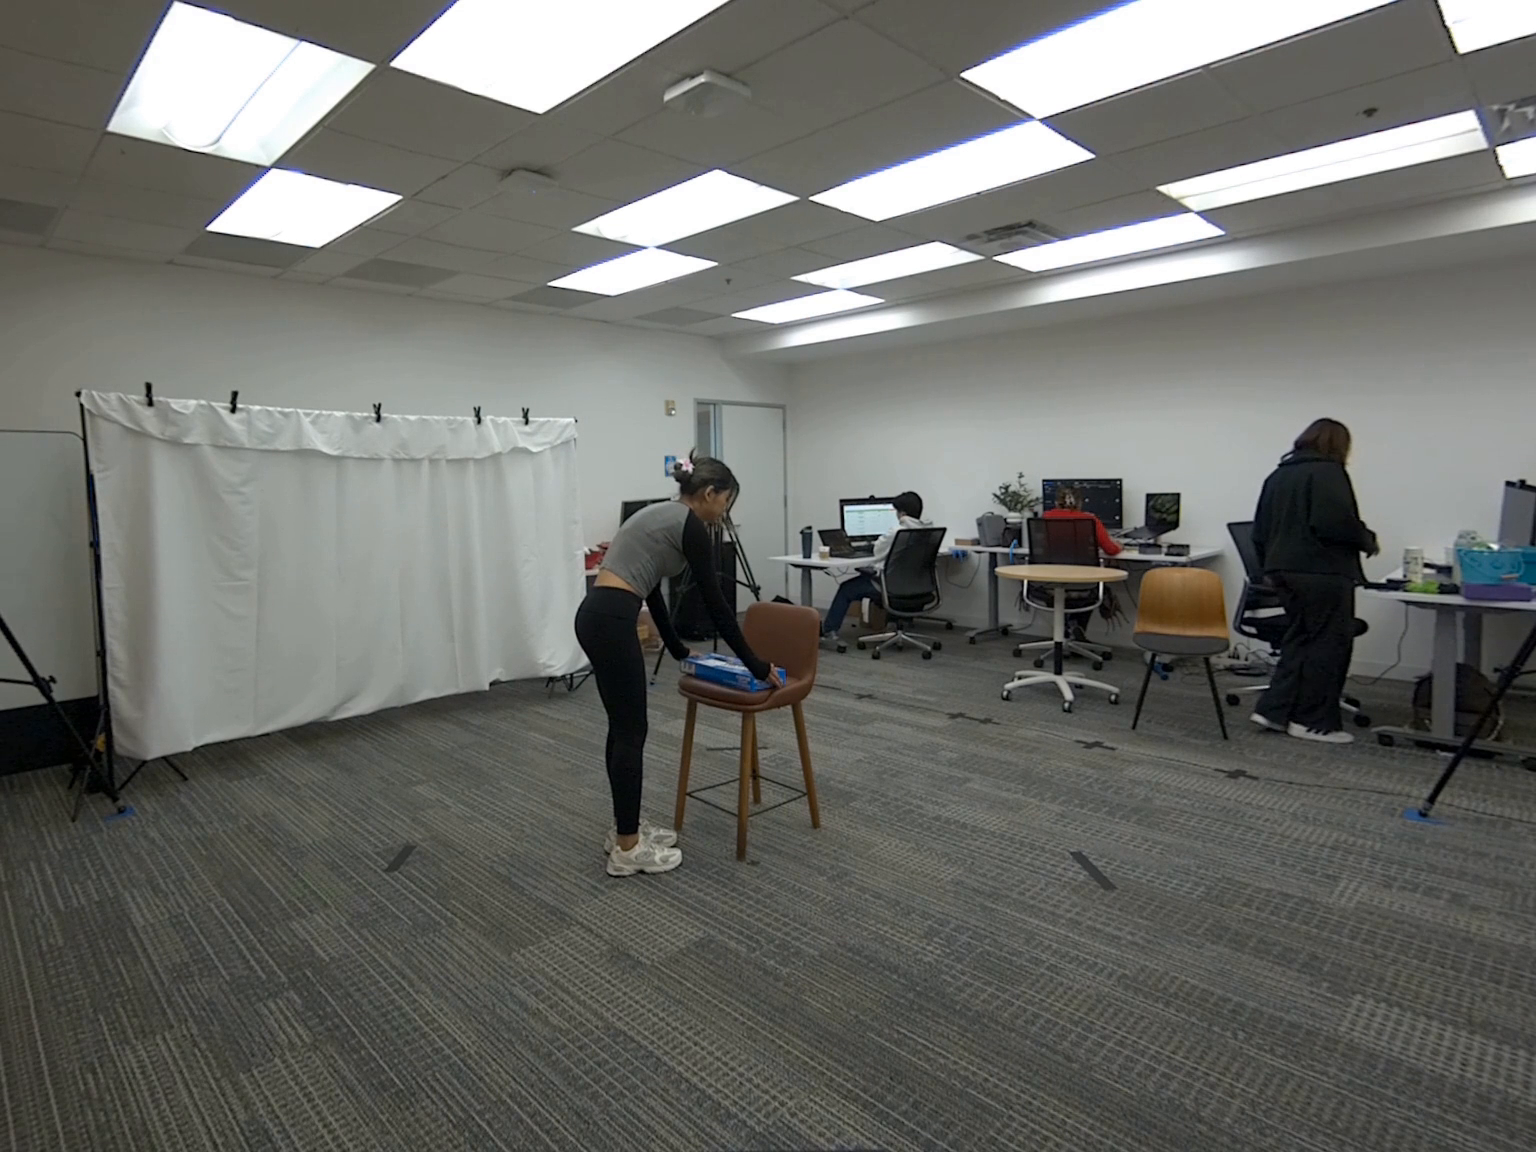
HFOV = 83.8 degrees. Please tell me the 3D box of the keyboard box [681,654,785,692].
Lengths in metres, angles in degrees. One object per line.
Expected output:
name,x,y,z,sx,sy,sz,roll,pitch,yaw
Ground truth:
keyboard box,-0.144,0.373,3.348,0.171,0.059,0.450,-5,8,-41
